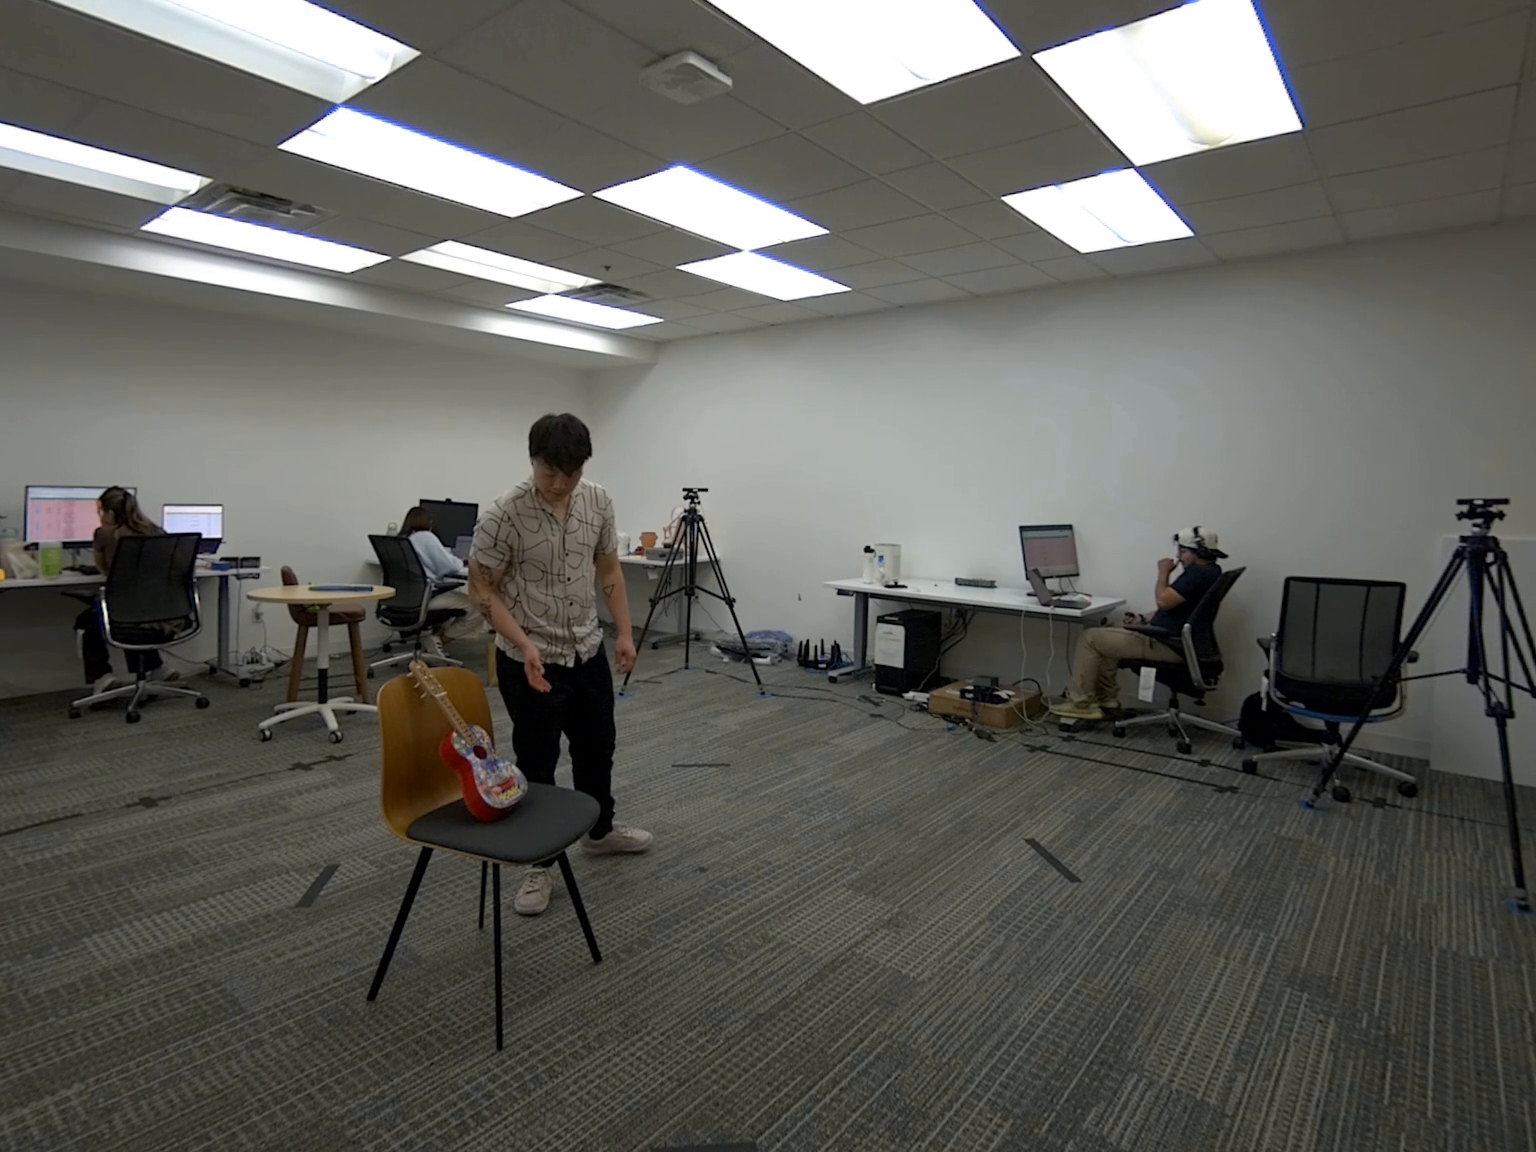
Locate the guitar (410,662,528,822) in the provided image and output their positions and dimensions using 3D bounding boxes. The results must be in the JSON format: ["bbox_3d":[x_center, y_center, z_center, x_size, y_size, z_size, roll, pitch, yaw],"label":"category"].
[{"bbox_3d":[-0.872,0.453,2.421,0.071,0.511,0.188,-42,-19,16],"label":"guitar"}]
